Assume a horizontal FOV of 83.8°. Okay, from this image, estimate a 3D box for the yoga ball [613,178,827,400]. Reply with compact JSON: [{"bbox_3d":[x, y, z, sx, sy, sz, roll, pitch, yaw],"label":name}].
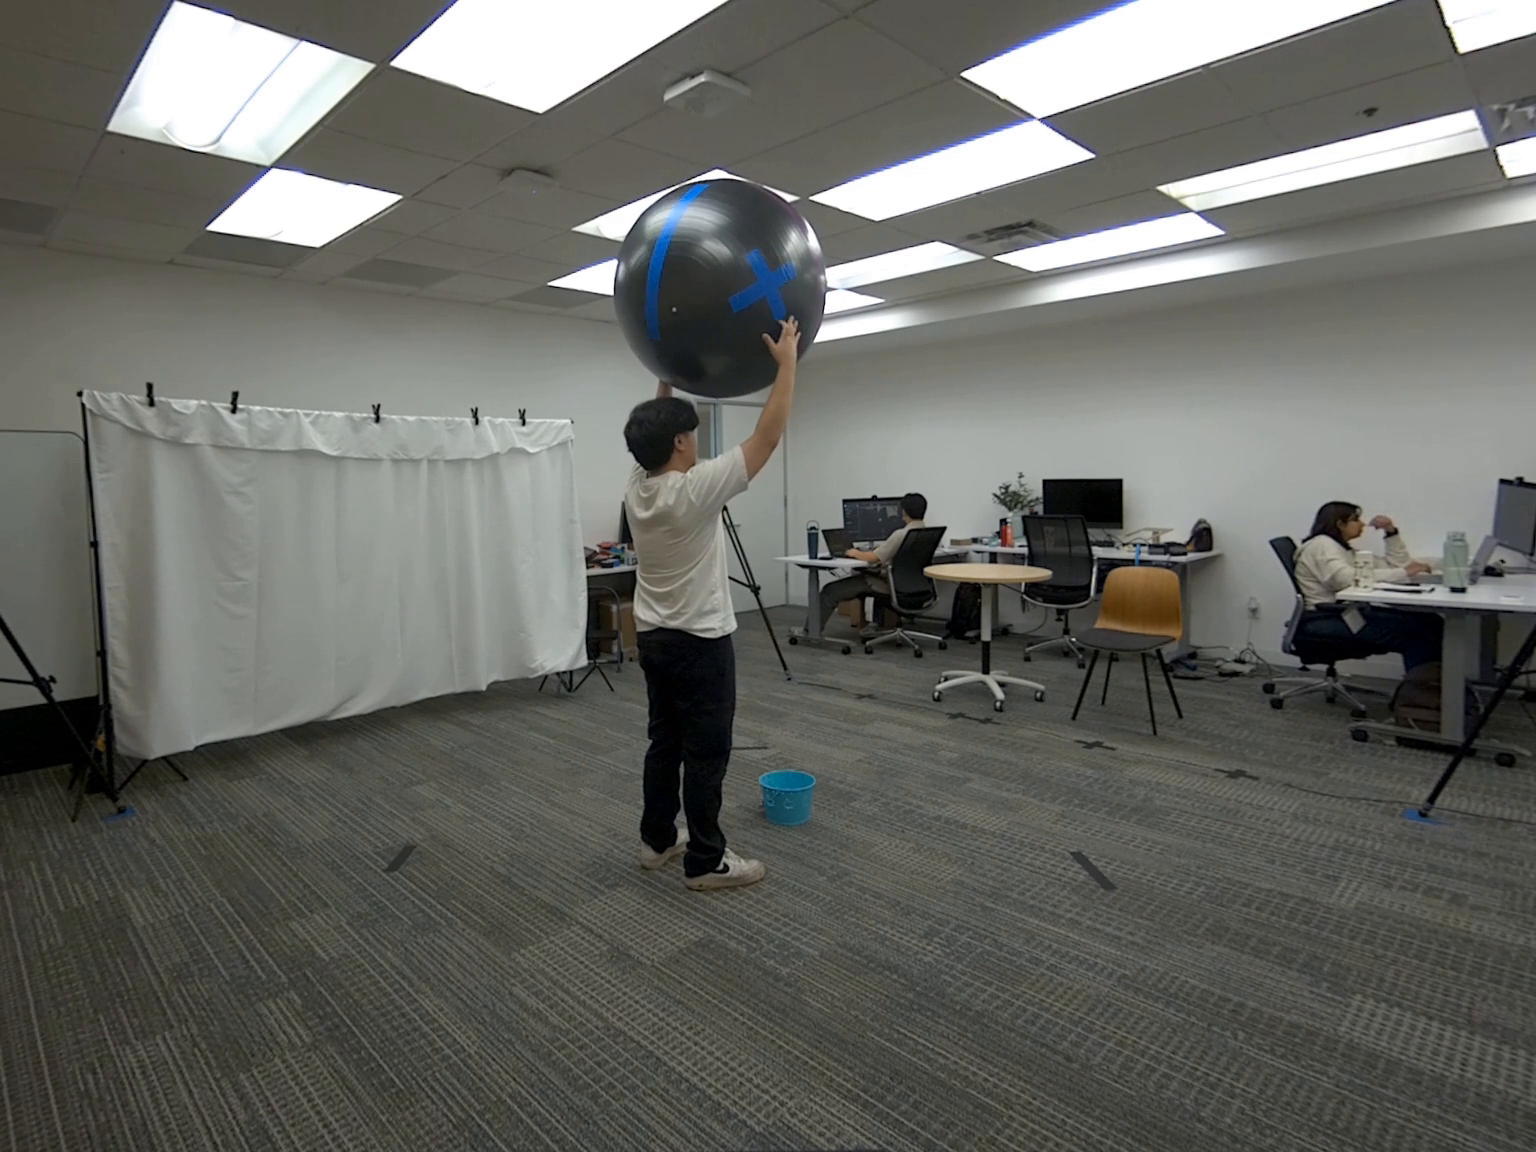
[{"bbox_3d":[-0.169,-1.016,3.054,0.757,0.755,0.762,-1,5,-2],"label":"yoga ball"}]
